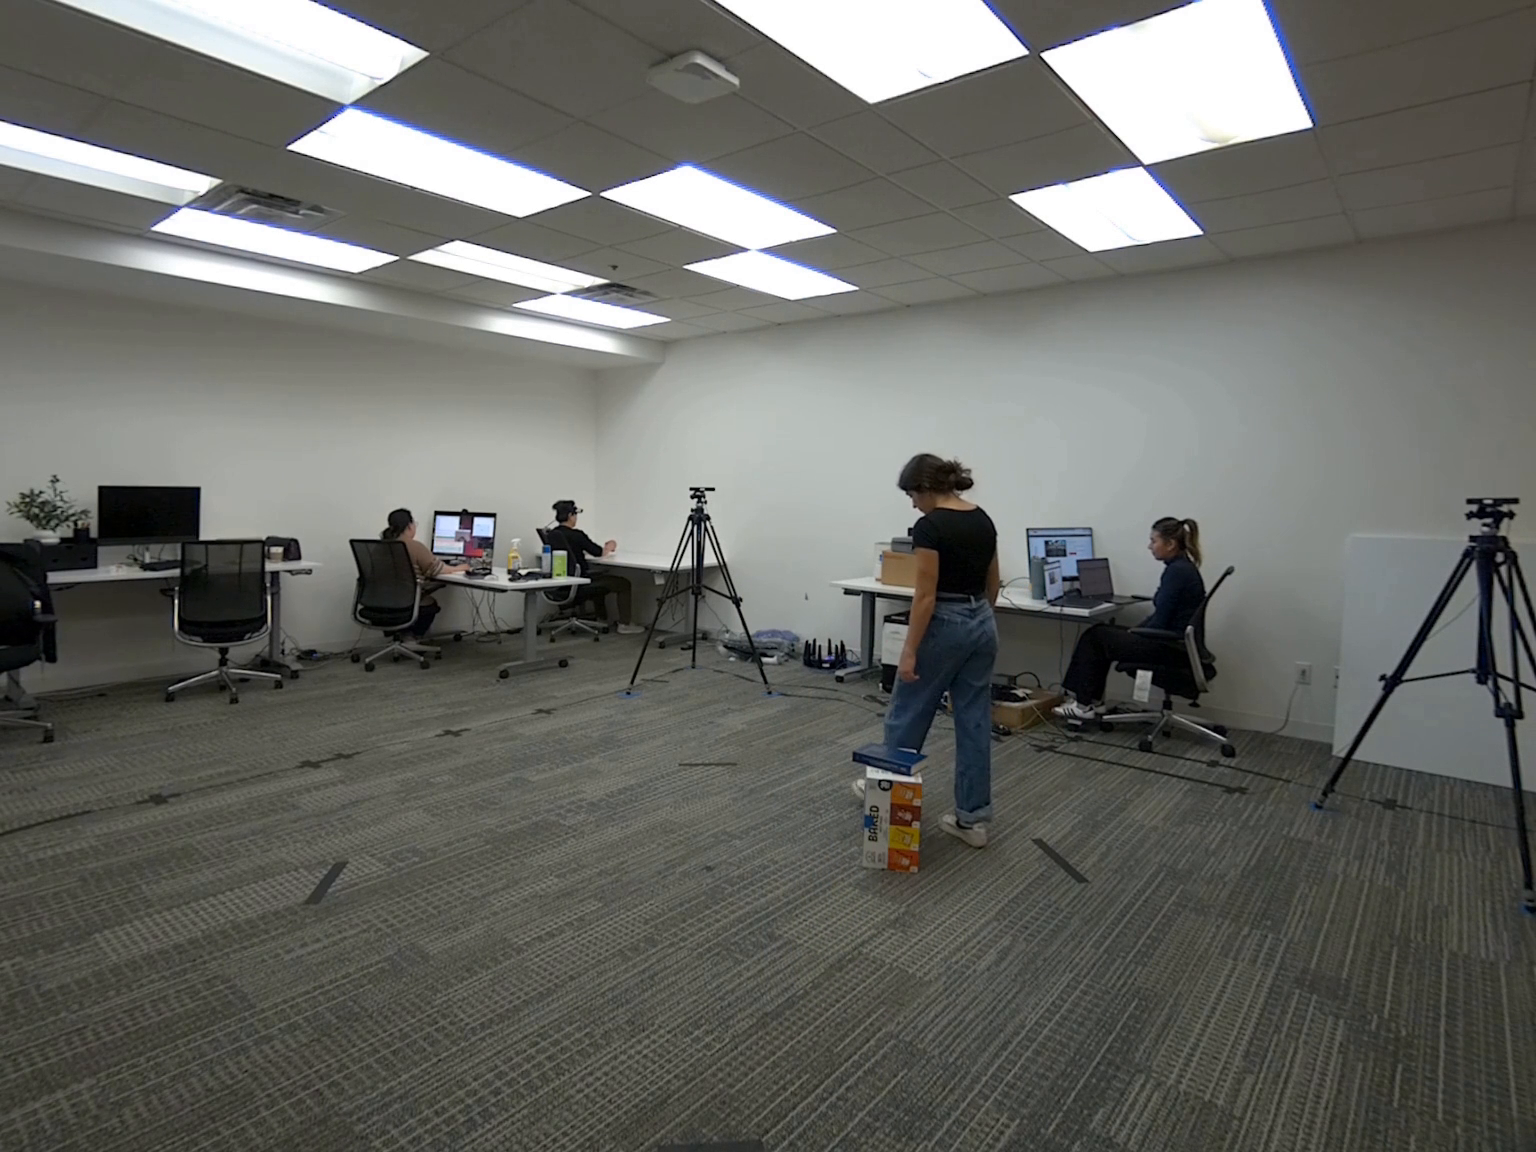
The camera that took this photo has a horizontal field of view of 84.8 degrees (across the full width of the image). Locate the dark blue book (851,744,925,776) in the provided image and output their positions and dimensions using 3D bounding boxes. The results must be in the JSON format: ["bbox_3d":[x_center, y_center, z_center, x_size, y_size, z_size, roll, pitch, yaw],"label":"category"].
[{"bbox_3d":[0.462,0.698,3.288,0.253,0.045,0.159,7,7,34],"label":"dark blue book"}]
